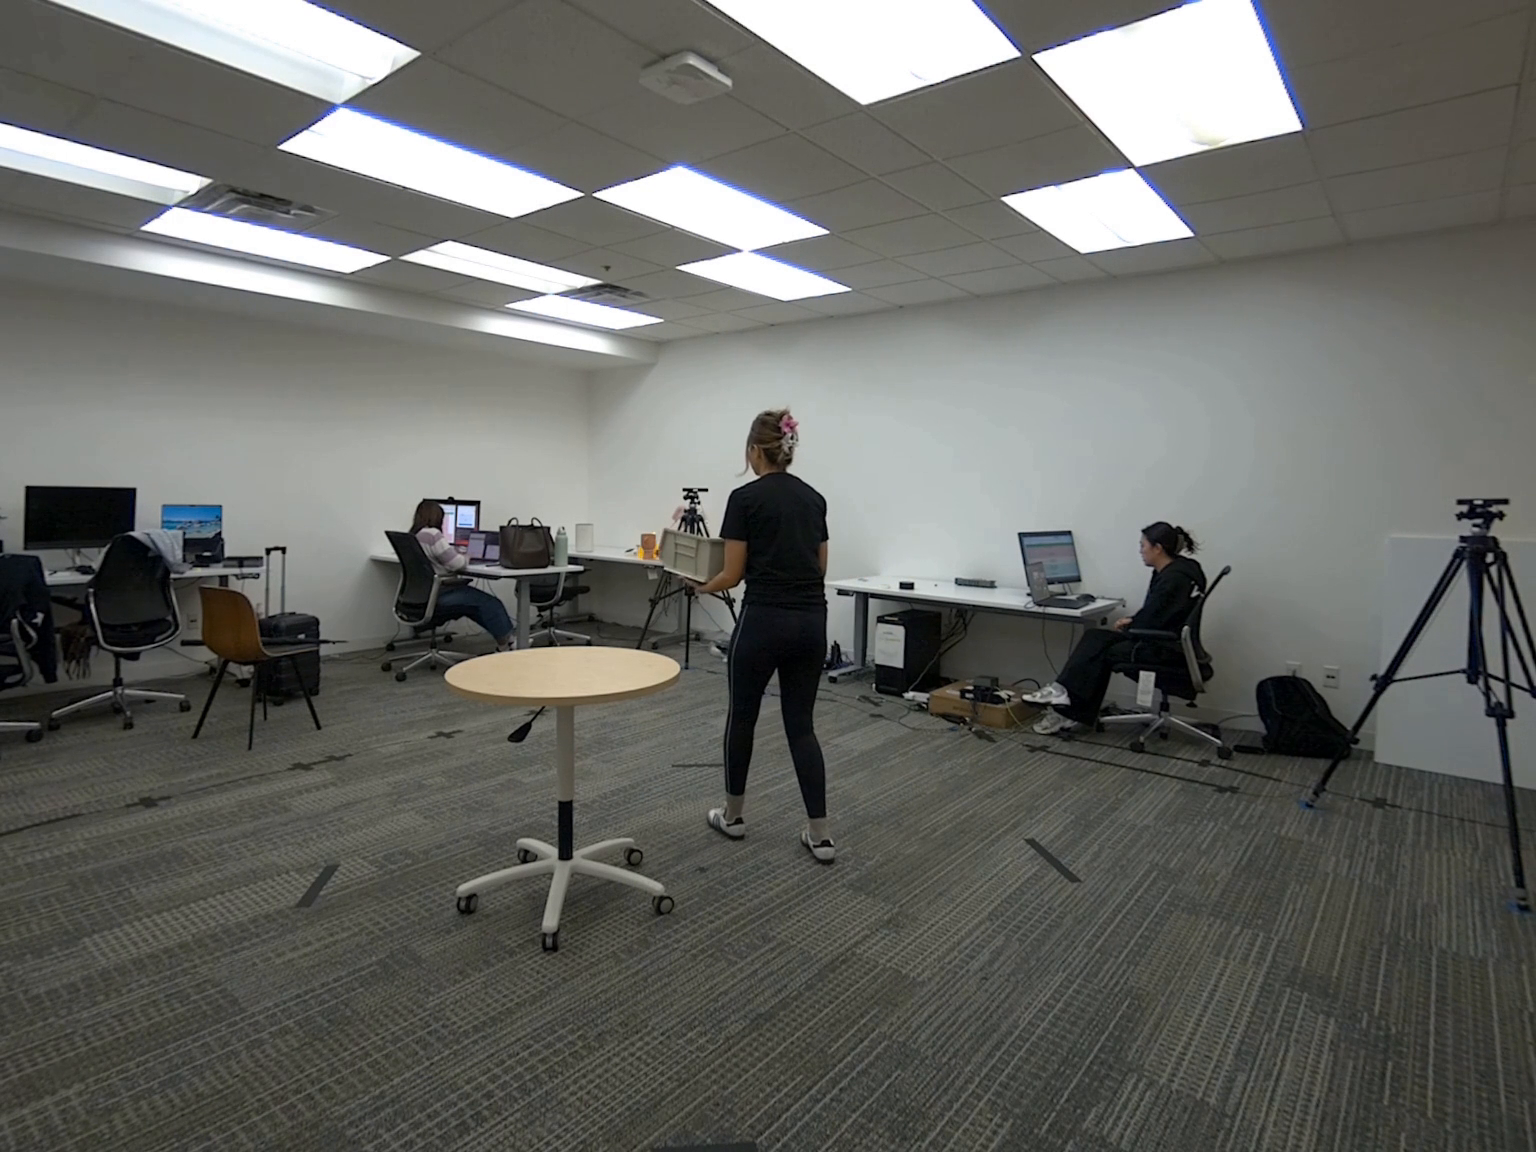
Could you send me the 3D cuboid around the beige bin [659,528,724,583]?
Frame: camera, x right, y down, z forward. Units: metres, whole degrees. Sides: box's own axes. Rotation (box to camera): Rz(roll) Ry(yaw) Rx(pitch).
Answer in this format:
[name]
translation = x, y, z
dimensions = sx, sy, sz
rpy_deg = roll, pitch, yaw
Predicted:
[beige bin]
translation = -0.203, -0.097, 3.620
dimensions = 0.409, 0.188, 0.391
rpy_deg = -1, 11, -37
